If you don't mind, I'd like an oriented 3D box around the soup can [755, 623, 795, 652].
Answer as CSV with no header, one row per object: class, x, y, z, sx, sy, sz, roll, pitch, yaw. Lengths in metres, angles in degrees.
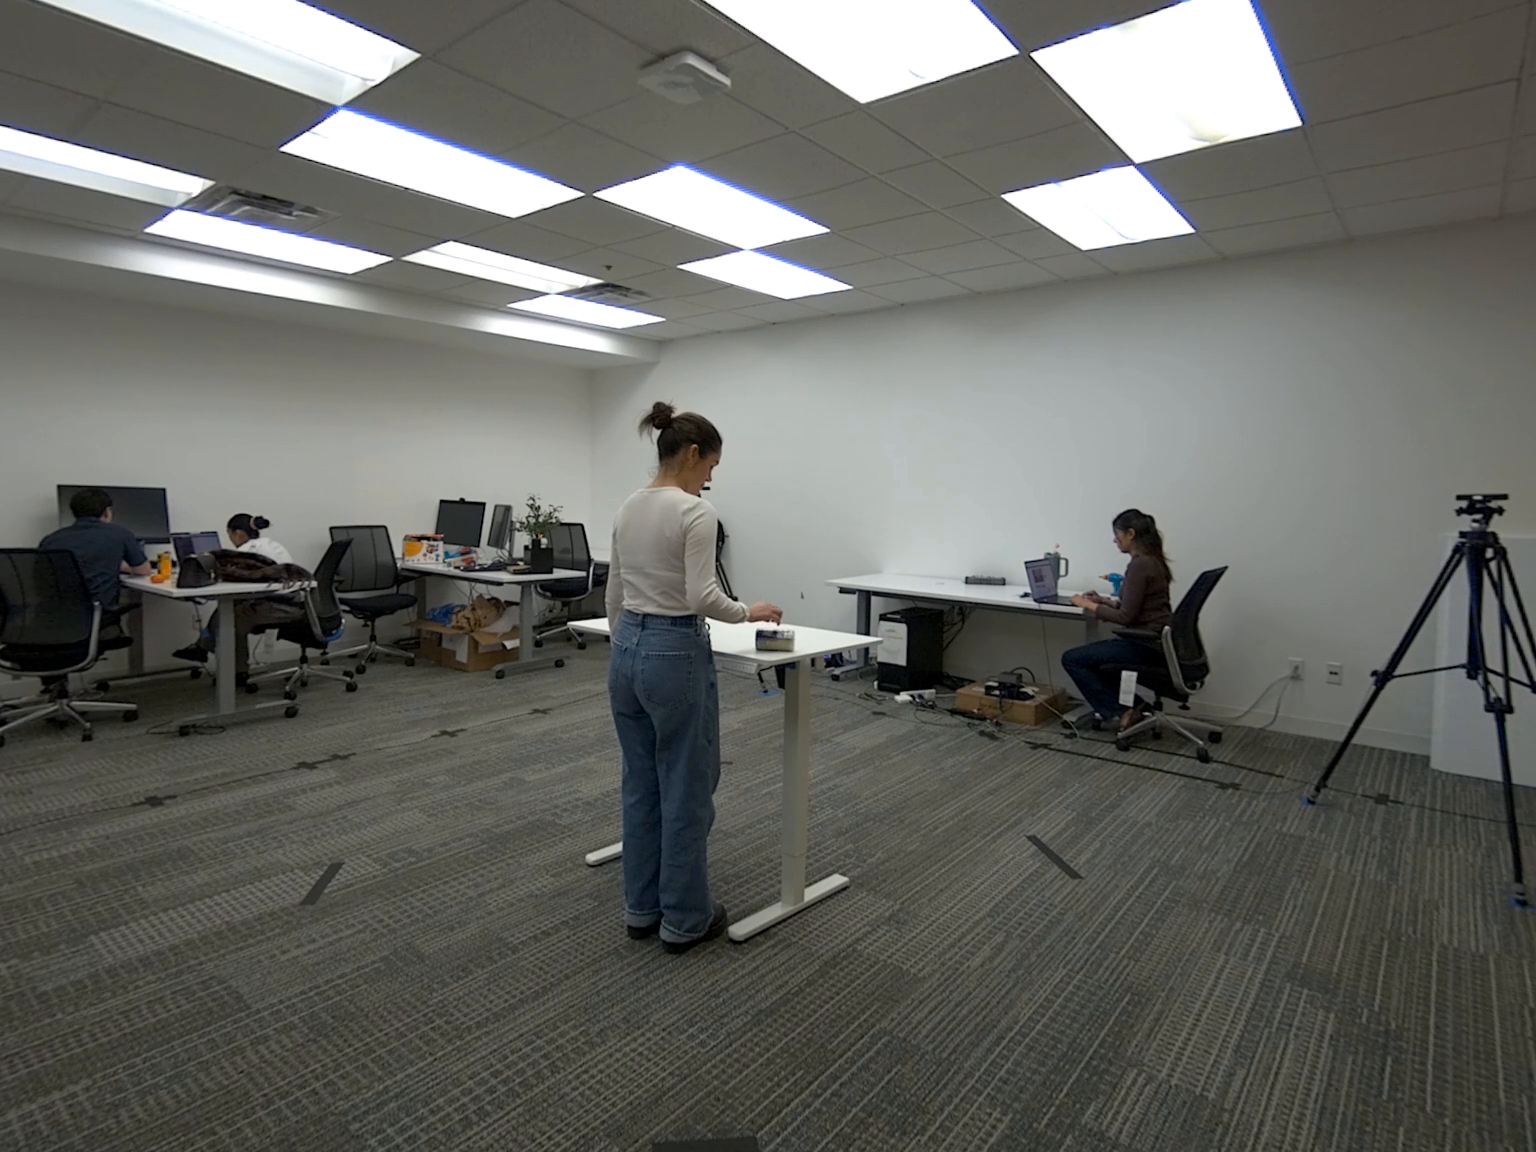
soup can,0.010,0.198,2.640,0.122,0.067,0.067,1,4,1
